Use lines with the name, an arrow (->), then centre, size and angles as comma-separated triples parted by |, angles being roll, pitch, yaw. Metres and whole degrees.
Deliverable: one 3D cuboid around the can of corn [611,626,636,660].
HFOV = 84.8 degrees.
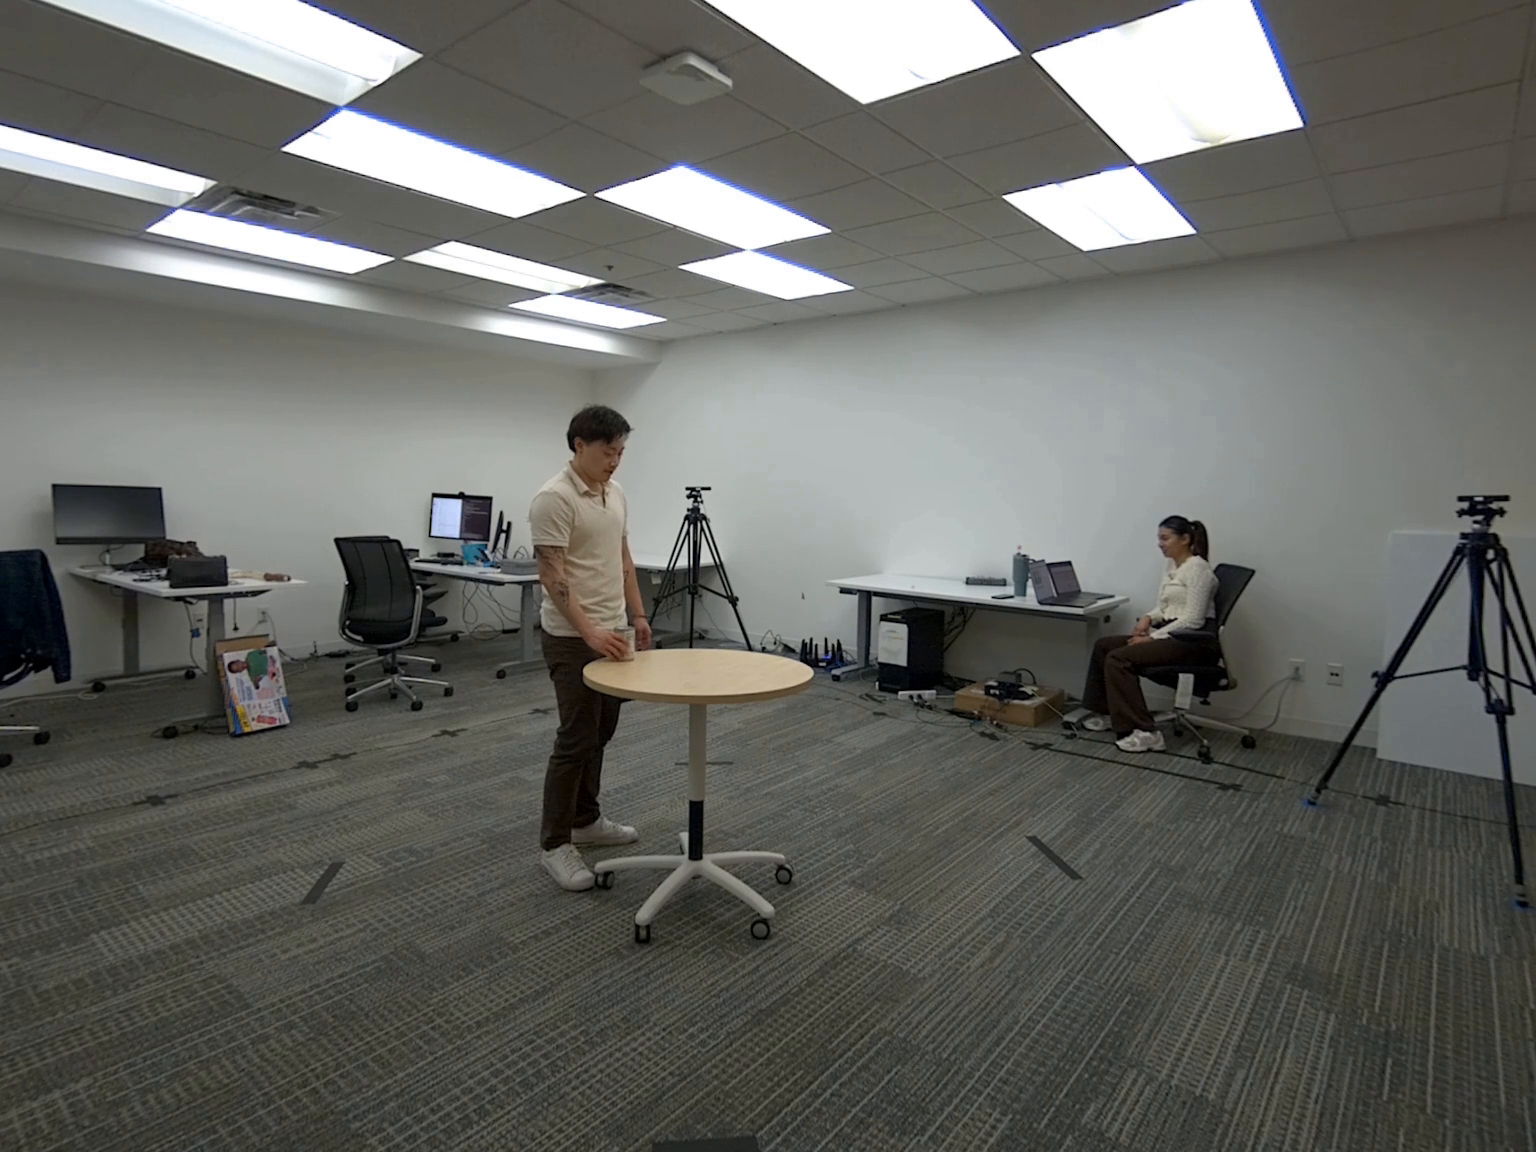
can of corn -> -0.517, 0.238, 2.979 | 0.074, 0.111, 0.074 | -3, 3, -2
